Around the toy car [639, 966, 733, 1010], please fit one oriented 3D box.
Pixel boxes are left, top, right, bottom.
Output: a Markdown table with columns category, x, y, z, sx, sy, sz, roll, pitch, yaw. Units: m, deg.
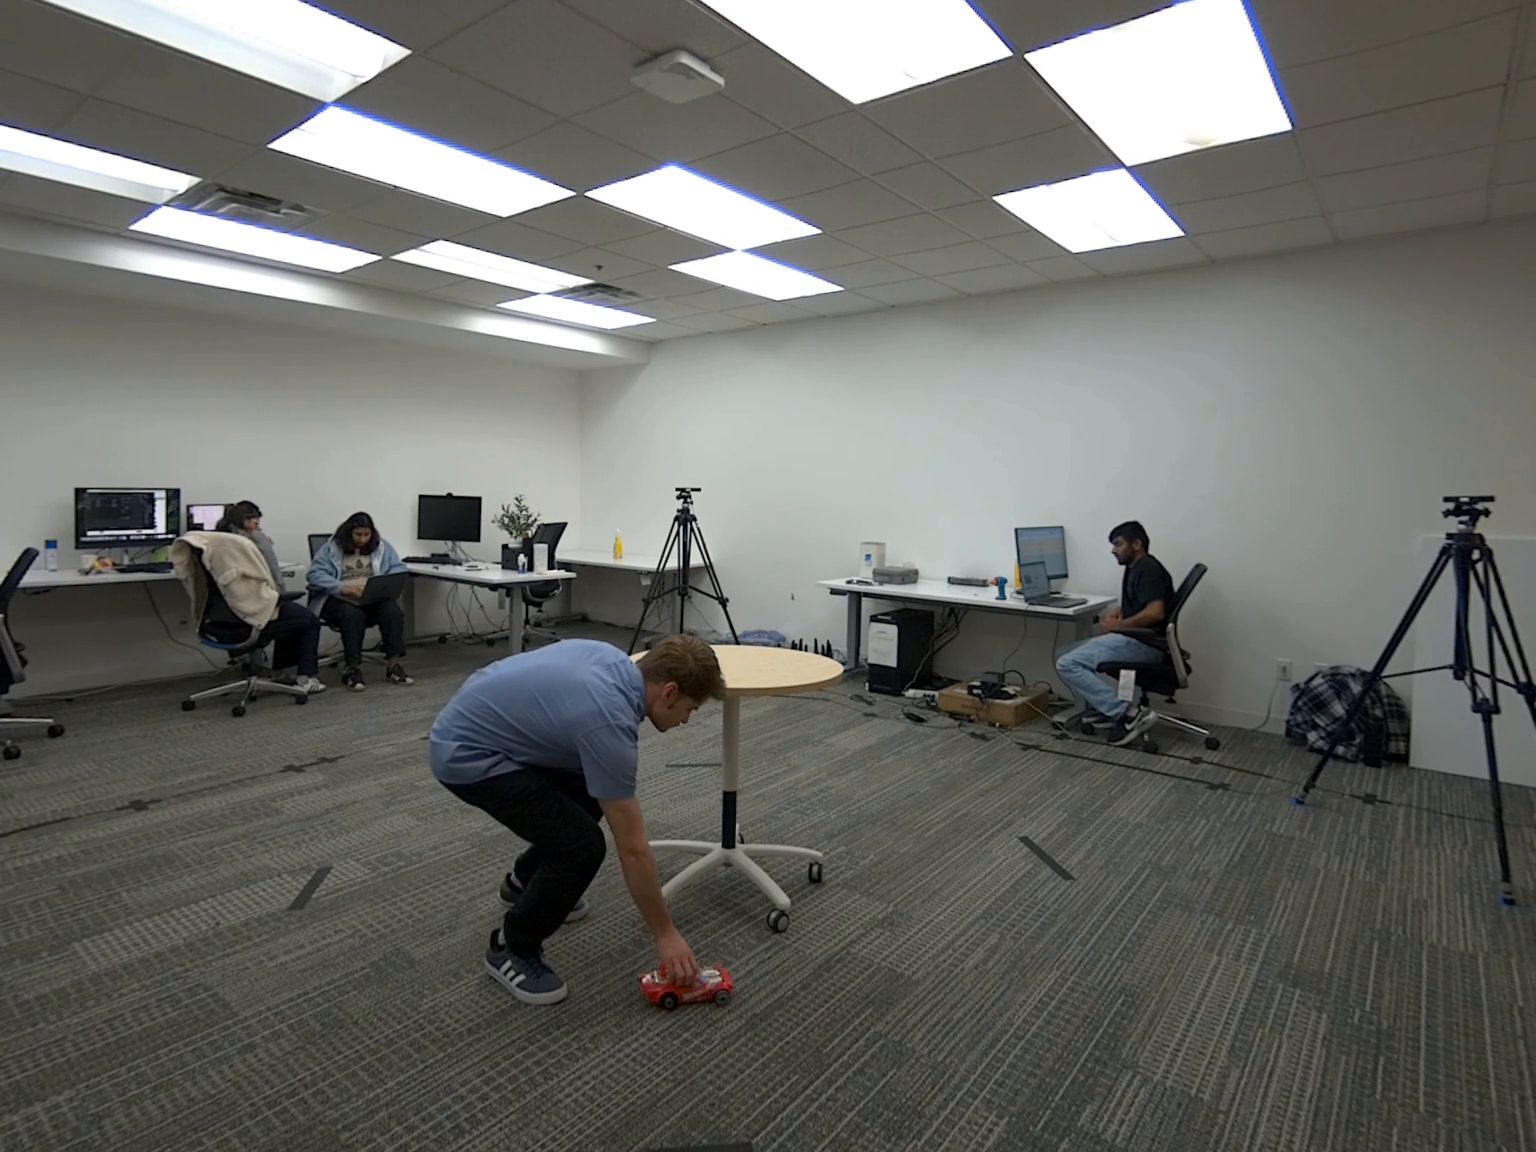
| category | x | y | z | sx | sy | sz | roll | pitch | yaw |
| --- | --- | --- | --- | --- | --- | --- | --- | --- | --- |
| toy car | -0.239 | 1.121 | 2.312 | 0.251 | 0.083 | 0.132 | 11 | 2 | -10 |
